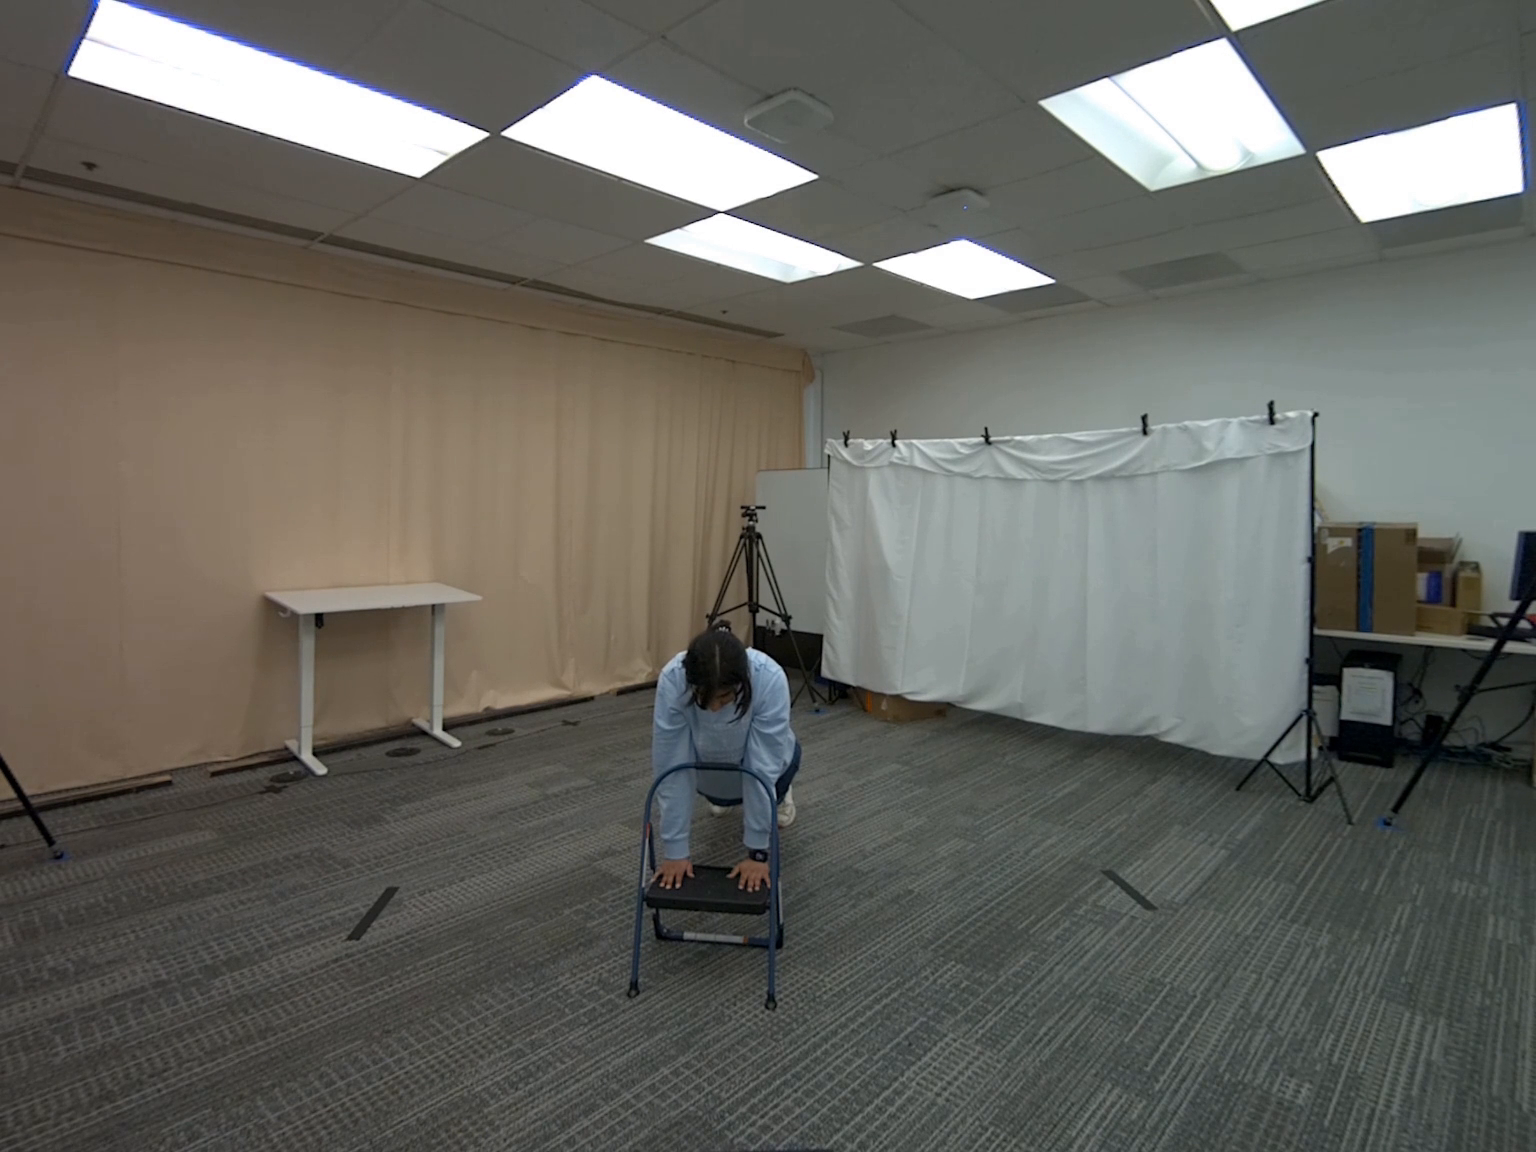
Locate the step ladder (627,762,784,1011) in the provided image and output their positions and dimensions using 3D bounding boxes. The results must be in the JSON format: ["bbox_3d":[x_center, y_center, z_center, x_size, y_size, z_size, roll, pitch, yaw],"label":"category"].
[{"bbox_3d":[-0.171,0.879,2.517,0.434,0.605,0.347,1,3,7],"label":"step ladder"}]
